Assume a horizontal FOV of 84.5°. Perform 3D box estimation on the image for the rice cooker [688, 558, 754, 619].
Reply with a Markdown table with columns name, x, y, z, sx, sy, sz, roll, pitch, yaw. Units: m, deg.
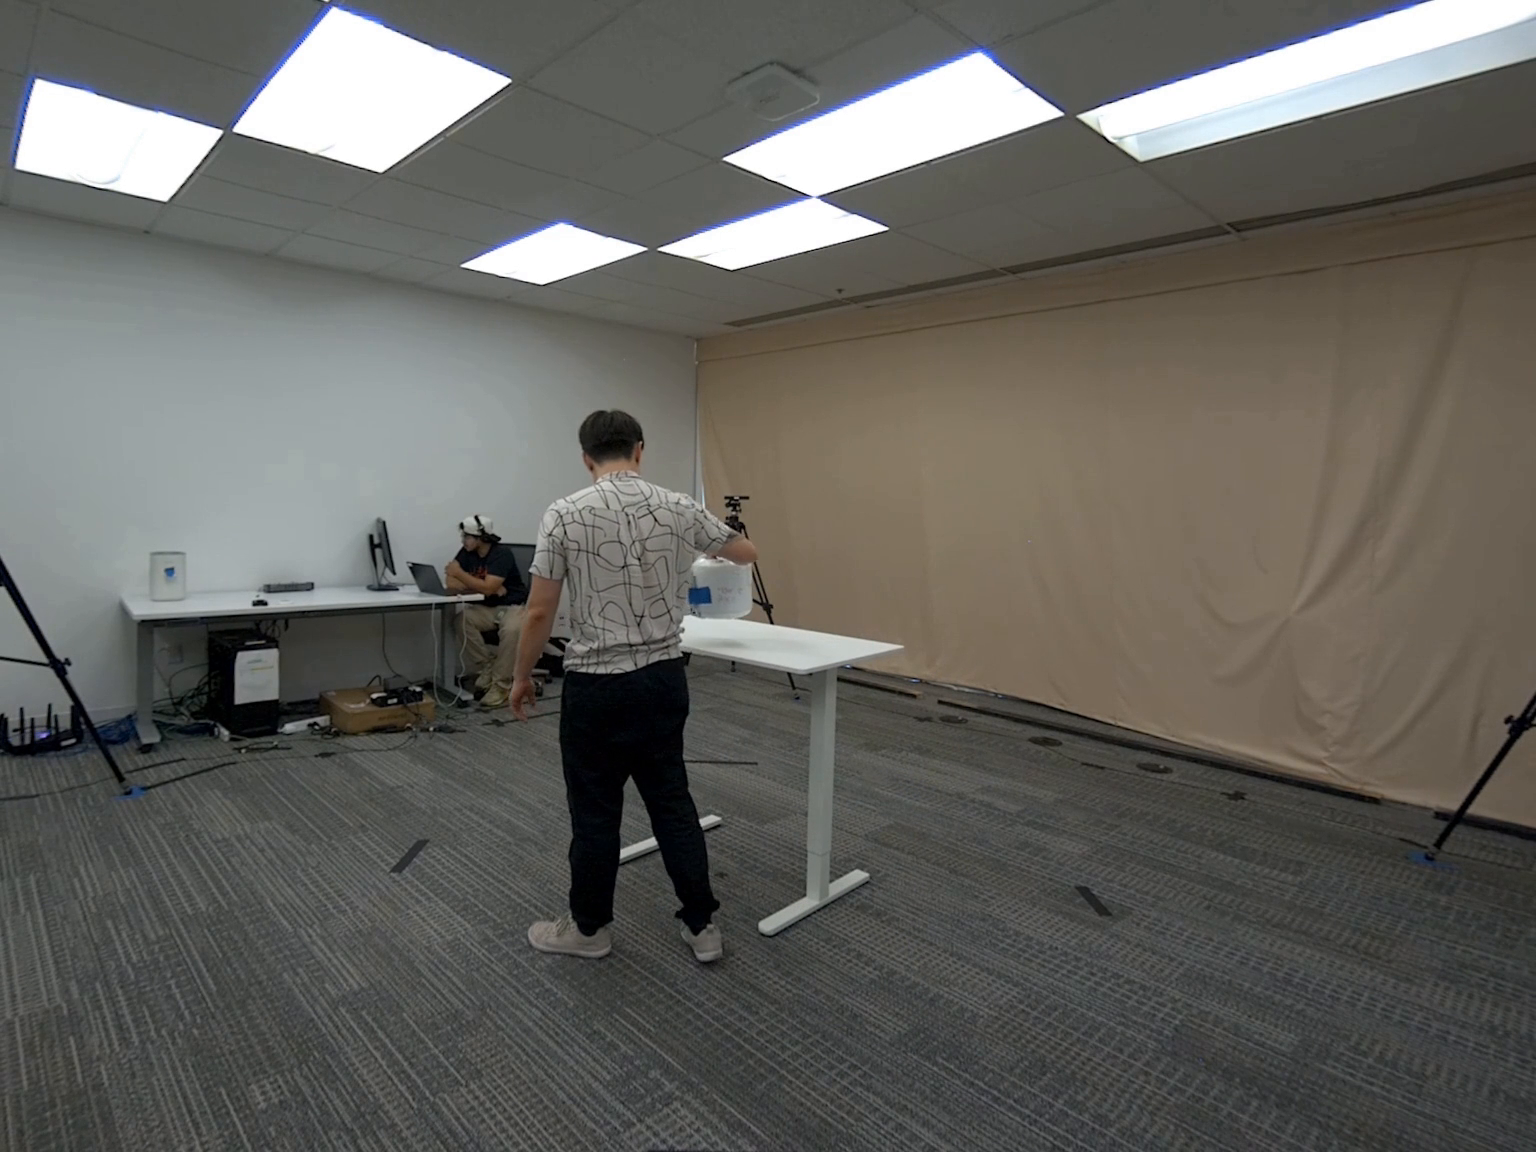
| name | x | y | z | sx | sy | sz | roll | pitch | yaw |
| --- | --- | --- | --- | --- | --- | --- | --- | --- | --- |
| rice cooker | -0.170 | 0.026 | 2.955 | 0.224 | 0.231 | 0.215 | 1 | 8 | 19 |
